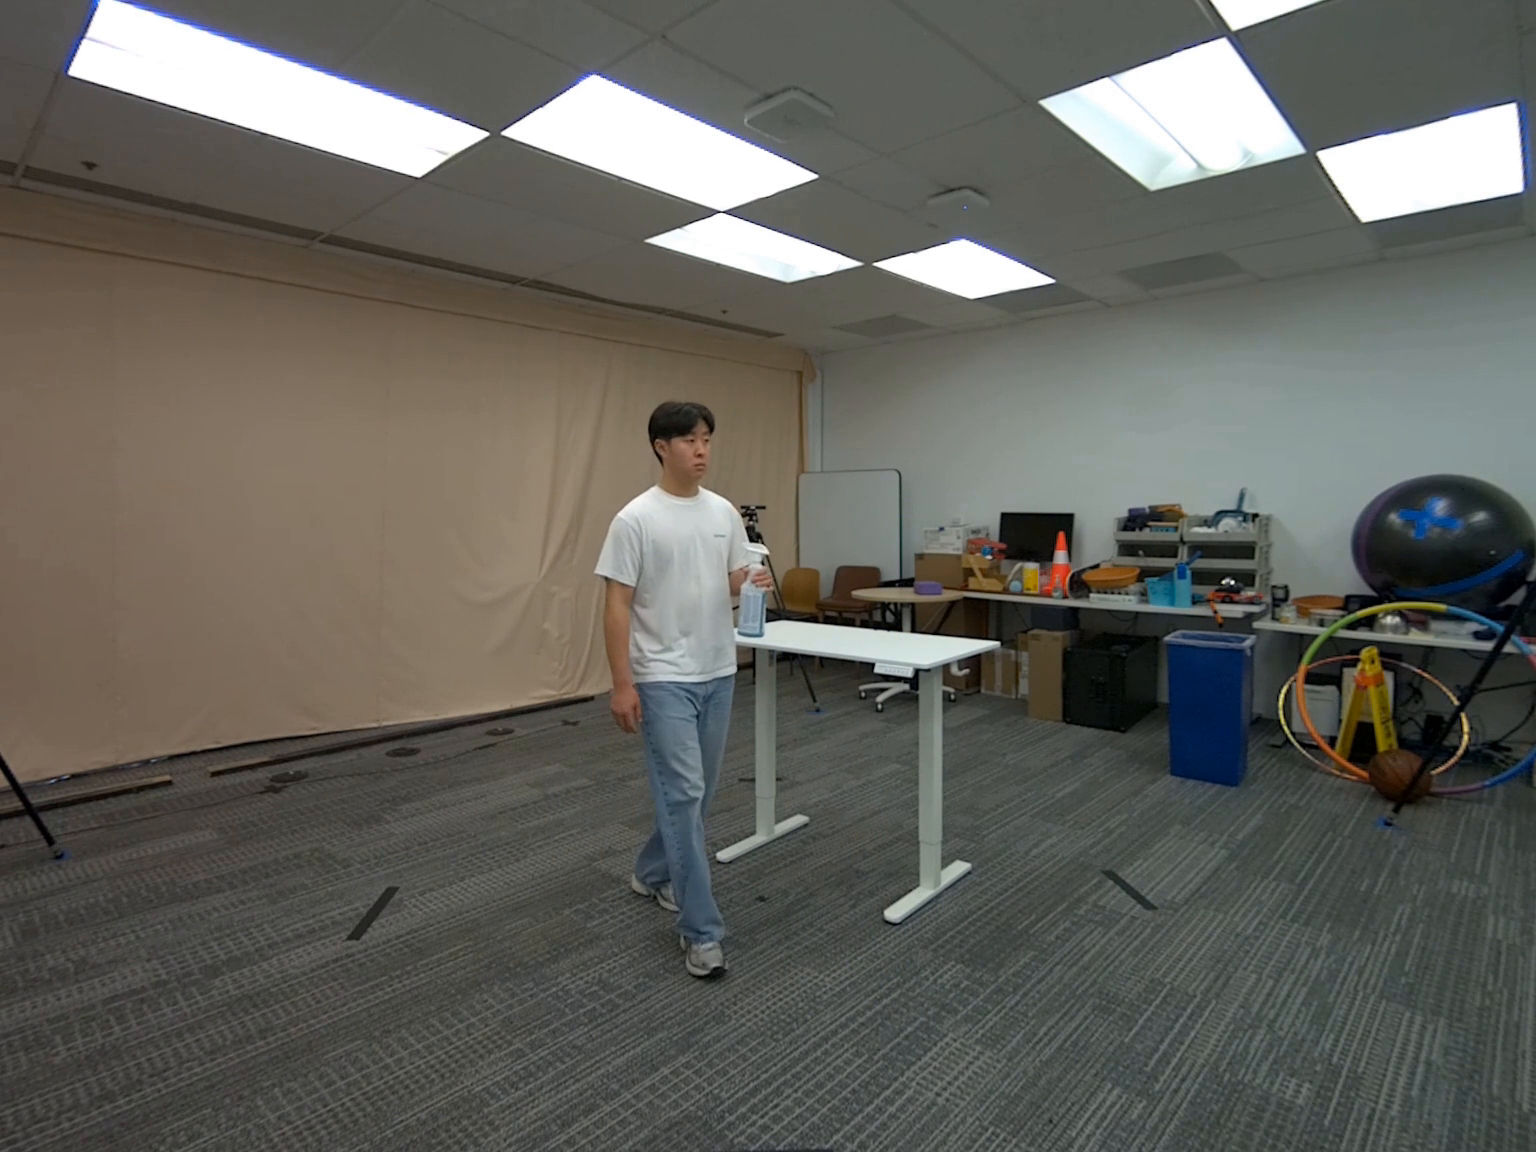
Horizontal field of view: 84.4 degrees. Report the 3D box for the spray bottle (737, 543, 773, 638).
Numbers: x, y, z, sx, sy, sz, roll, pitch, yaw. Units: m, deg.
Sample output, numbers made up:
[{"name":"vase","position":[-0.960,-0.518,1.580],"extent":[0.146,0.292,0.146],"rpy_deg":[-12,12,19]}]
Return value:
[{"name":"spray bottle","position":[-0.045,0.045,2.672],"extent":[0.093,0.297,0.084],"rpy_deg":[5,3,42]}]
